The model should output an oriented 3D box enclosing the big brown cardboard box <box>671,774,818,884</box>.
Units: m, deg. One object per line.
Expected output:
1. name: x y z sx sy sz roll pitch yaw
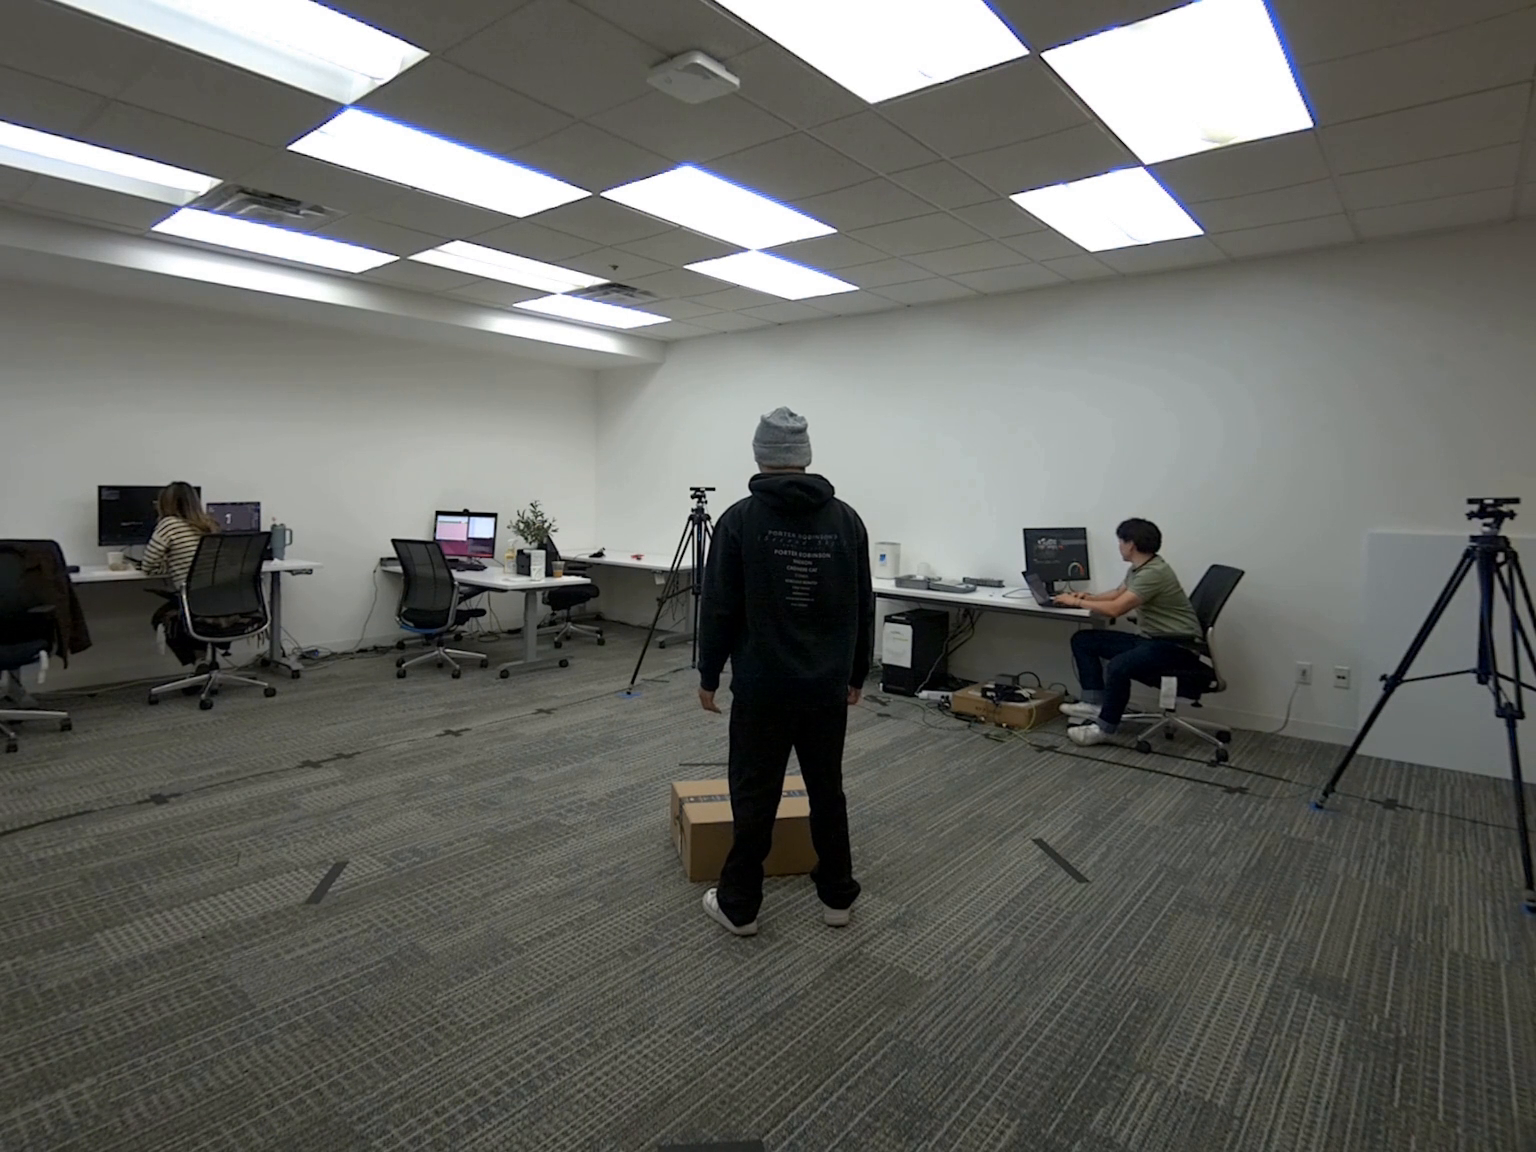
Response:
1. big brown cardboard box: -0.064 0.941 3.238 0.581 0.232 0.425 1 6 -13
